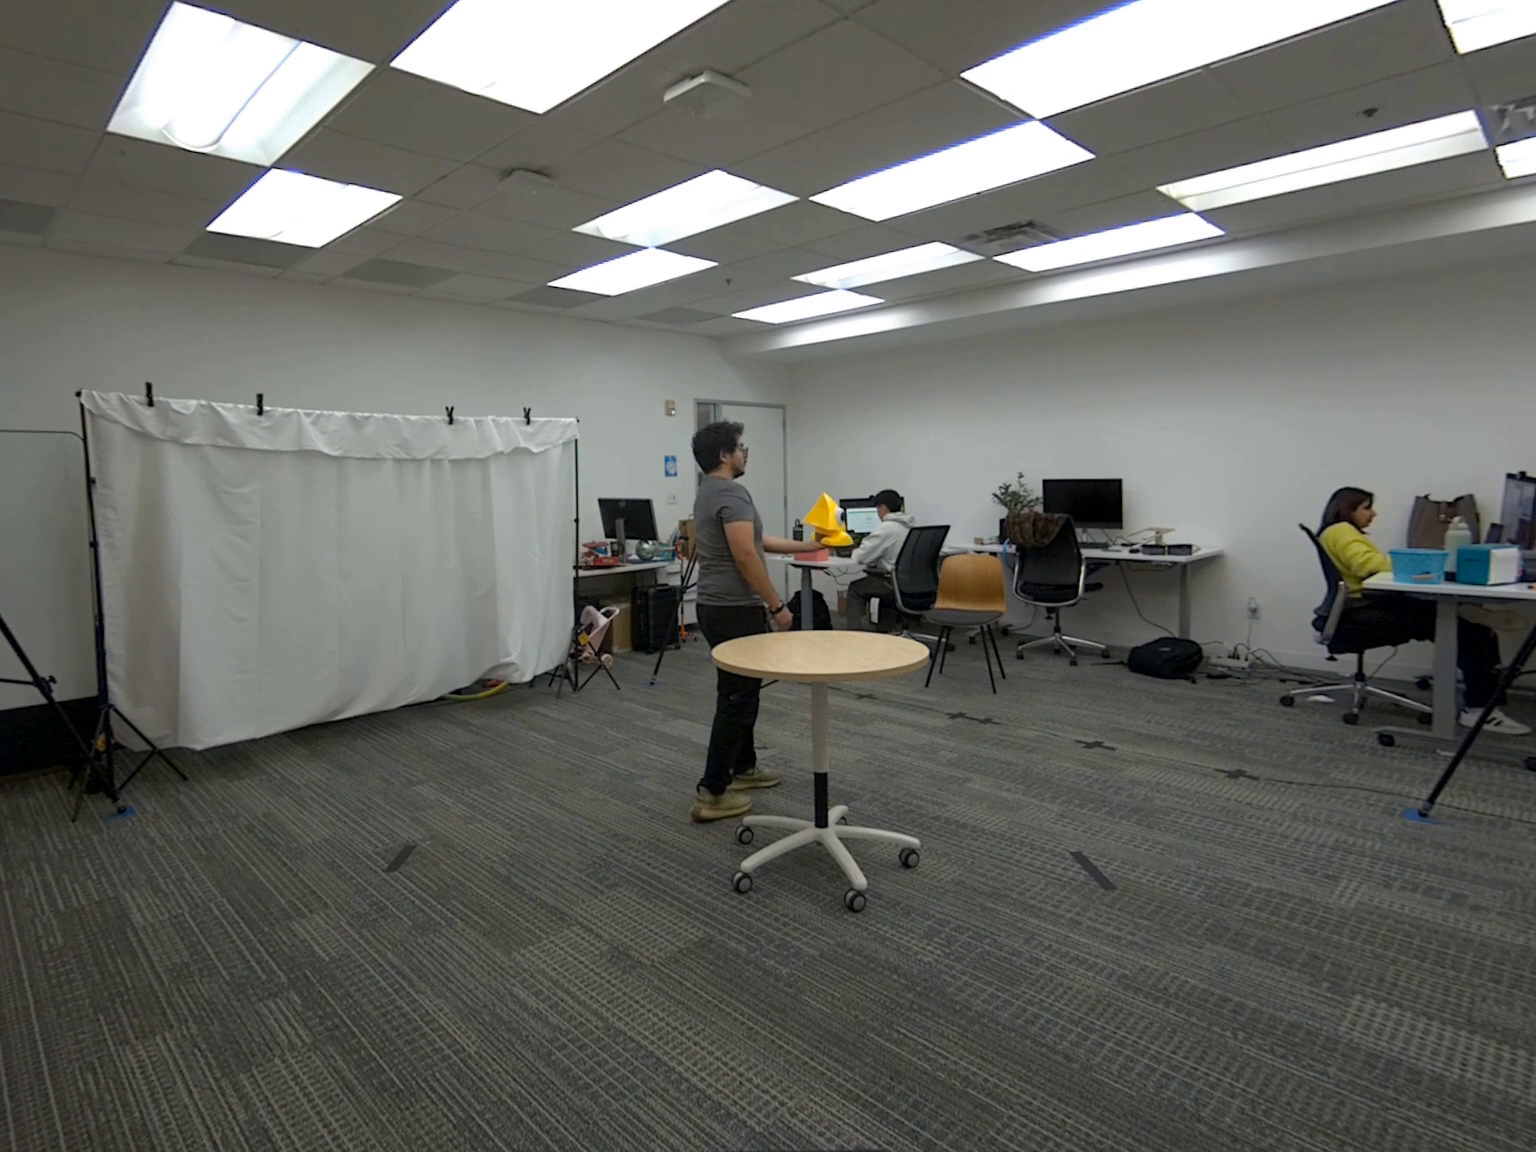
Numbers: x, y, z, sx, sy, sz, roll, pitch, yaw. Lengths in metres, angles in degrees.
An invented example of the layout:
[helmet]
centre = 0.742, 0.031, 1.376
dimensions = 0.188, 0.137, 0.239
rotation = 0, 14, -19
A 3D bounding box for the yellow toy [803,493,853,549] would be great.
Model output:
[yellow toy]
centre = 0.286, -0.276, 3.983
dimensions = 0.188, 0.228, 0.212
rotation = -4, 13, -32
